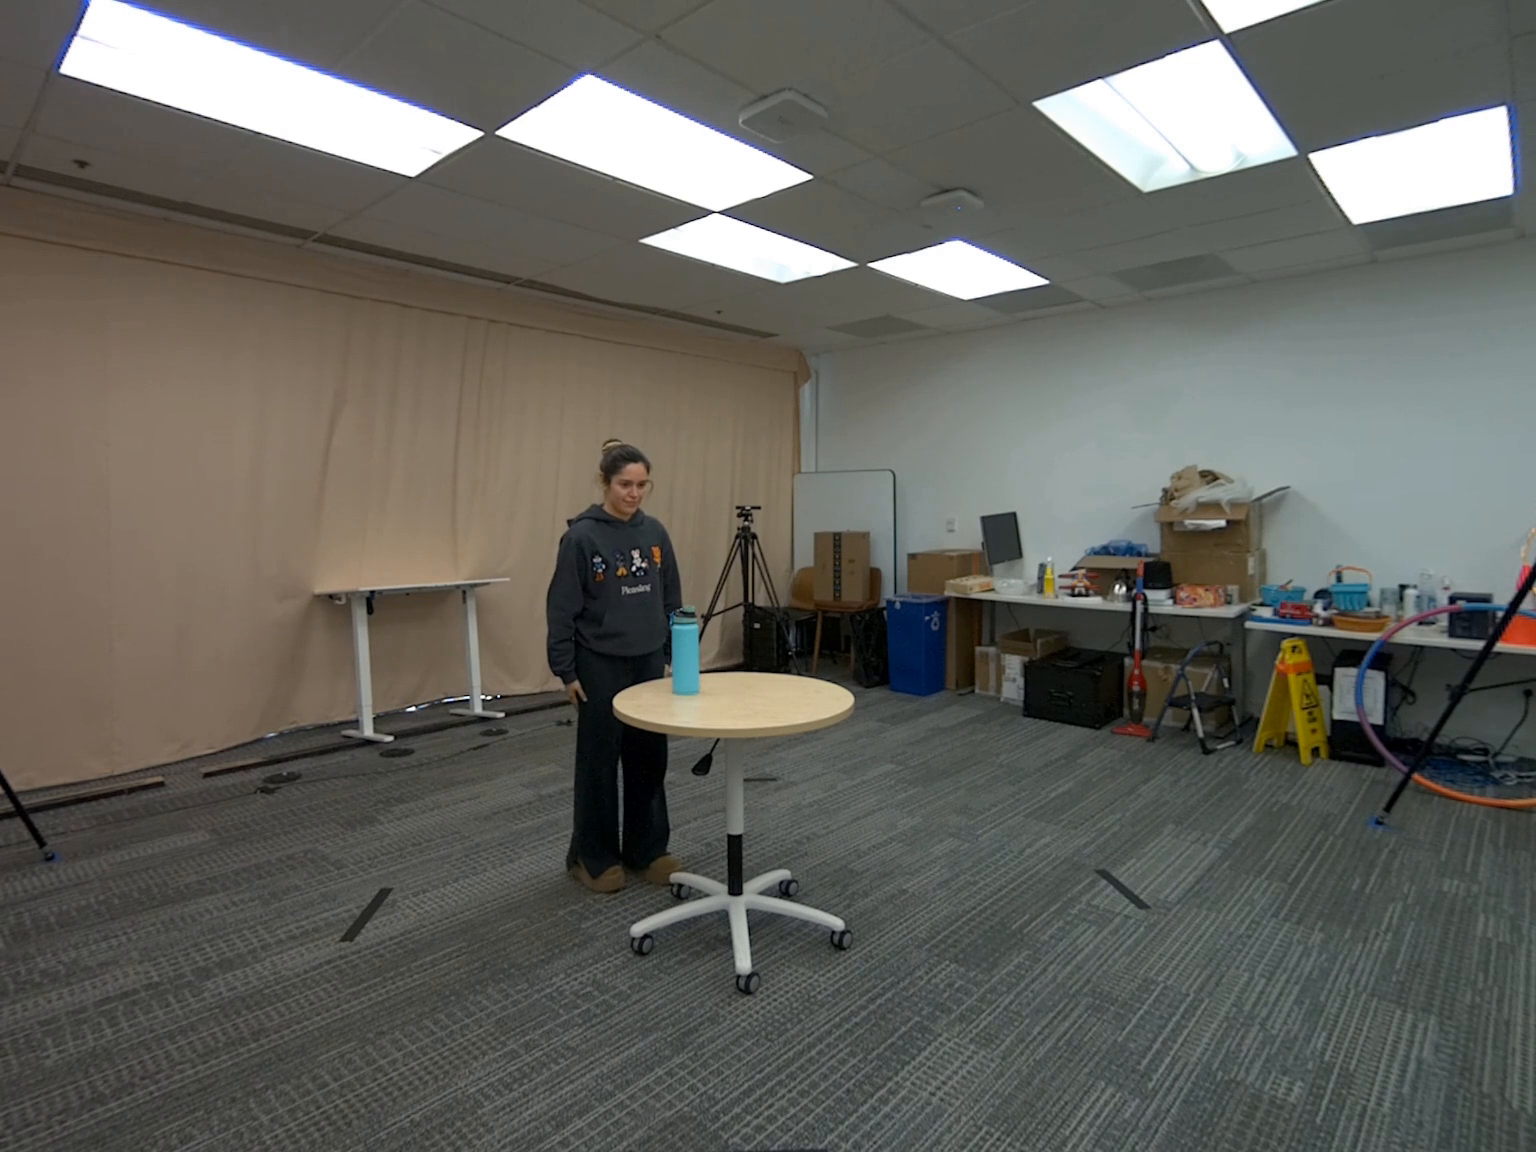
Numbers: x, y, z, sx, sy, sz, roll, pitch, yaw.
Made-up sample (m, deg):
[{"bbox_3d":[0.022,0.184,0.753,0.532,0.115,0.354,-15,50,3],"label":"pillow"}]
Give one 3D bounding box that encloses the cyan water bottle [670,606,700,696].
[{"bbox_3d":[-0.260,0.245,2.757,0.092,0.283,0.092,-4,3,-2],"label":"cyan water bottle"}]
